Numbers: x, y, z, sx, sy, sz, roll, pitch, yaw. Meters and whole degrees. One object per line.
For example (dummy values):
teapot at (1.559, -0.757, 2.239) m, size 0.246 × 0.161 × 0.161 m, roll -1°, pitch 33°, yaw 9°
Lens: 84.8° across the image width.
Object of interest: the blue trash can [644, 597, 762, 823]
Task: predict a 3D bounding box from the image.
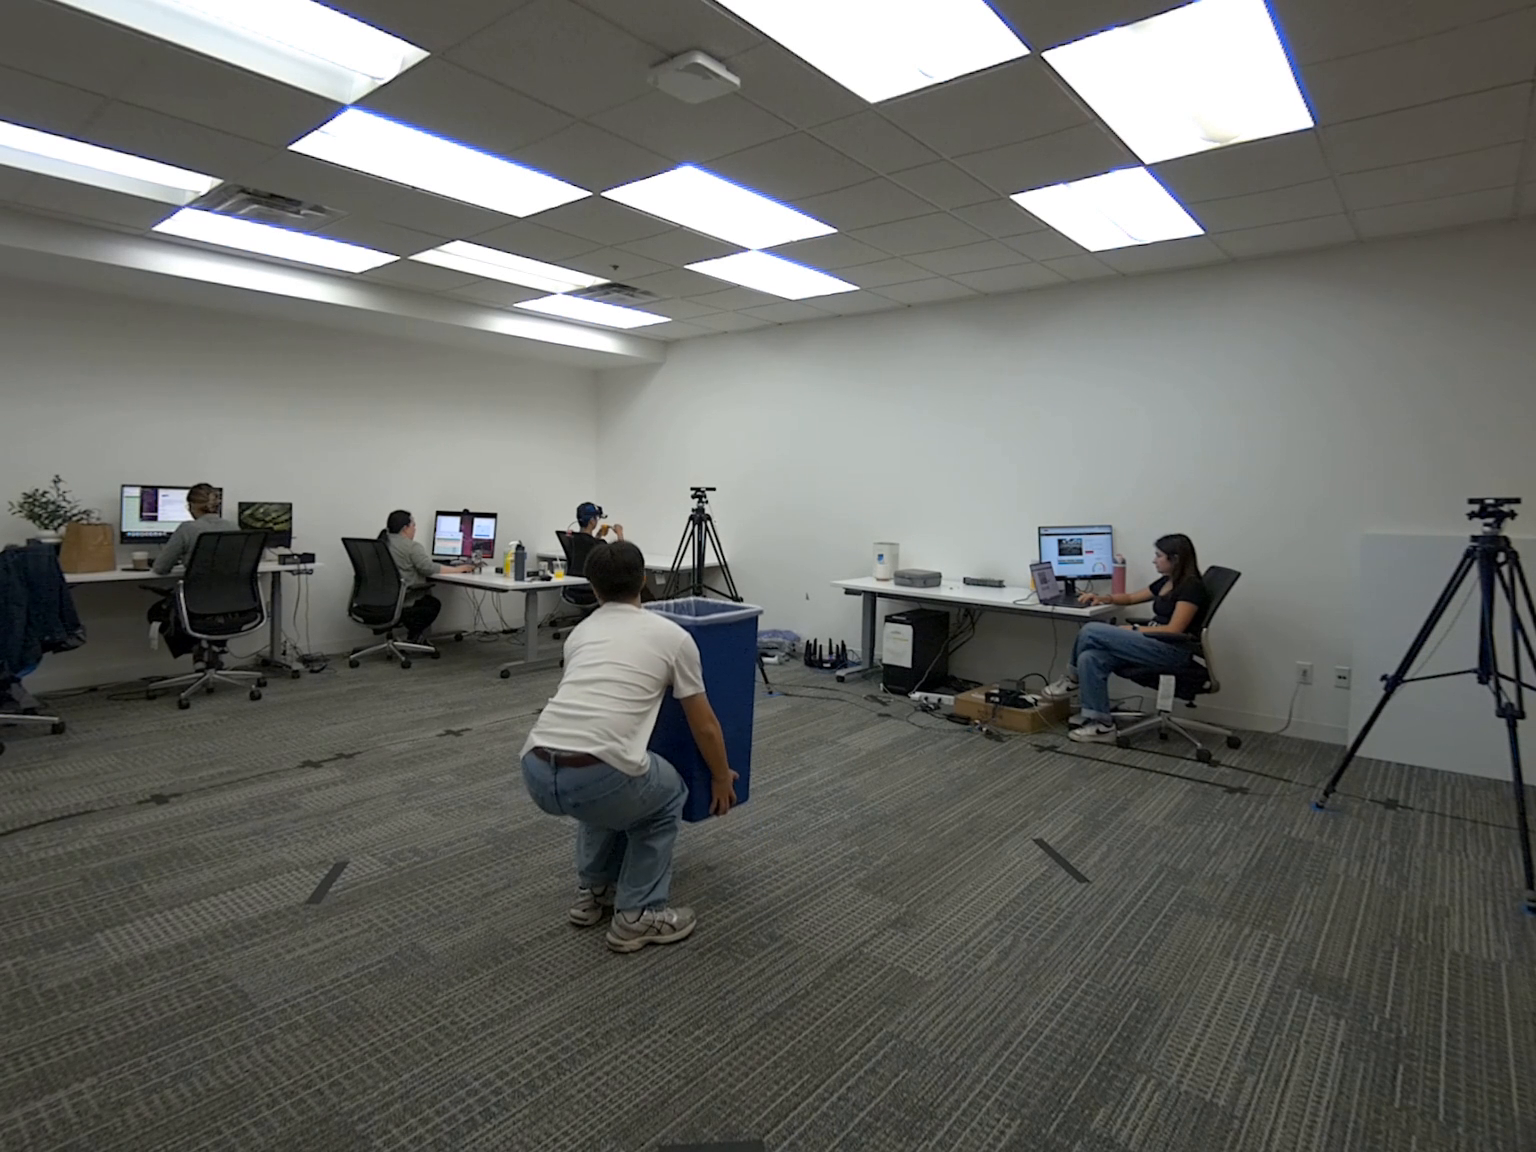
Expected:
blue trash can at (-0.270, 0.456, 3.071) m, size 0.386 × 0.711 × 0.367 m, roll 4°, pitch 5°, yaw 40°
